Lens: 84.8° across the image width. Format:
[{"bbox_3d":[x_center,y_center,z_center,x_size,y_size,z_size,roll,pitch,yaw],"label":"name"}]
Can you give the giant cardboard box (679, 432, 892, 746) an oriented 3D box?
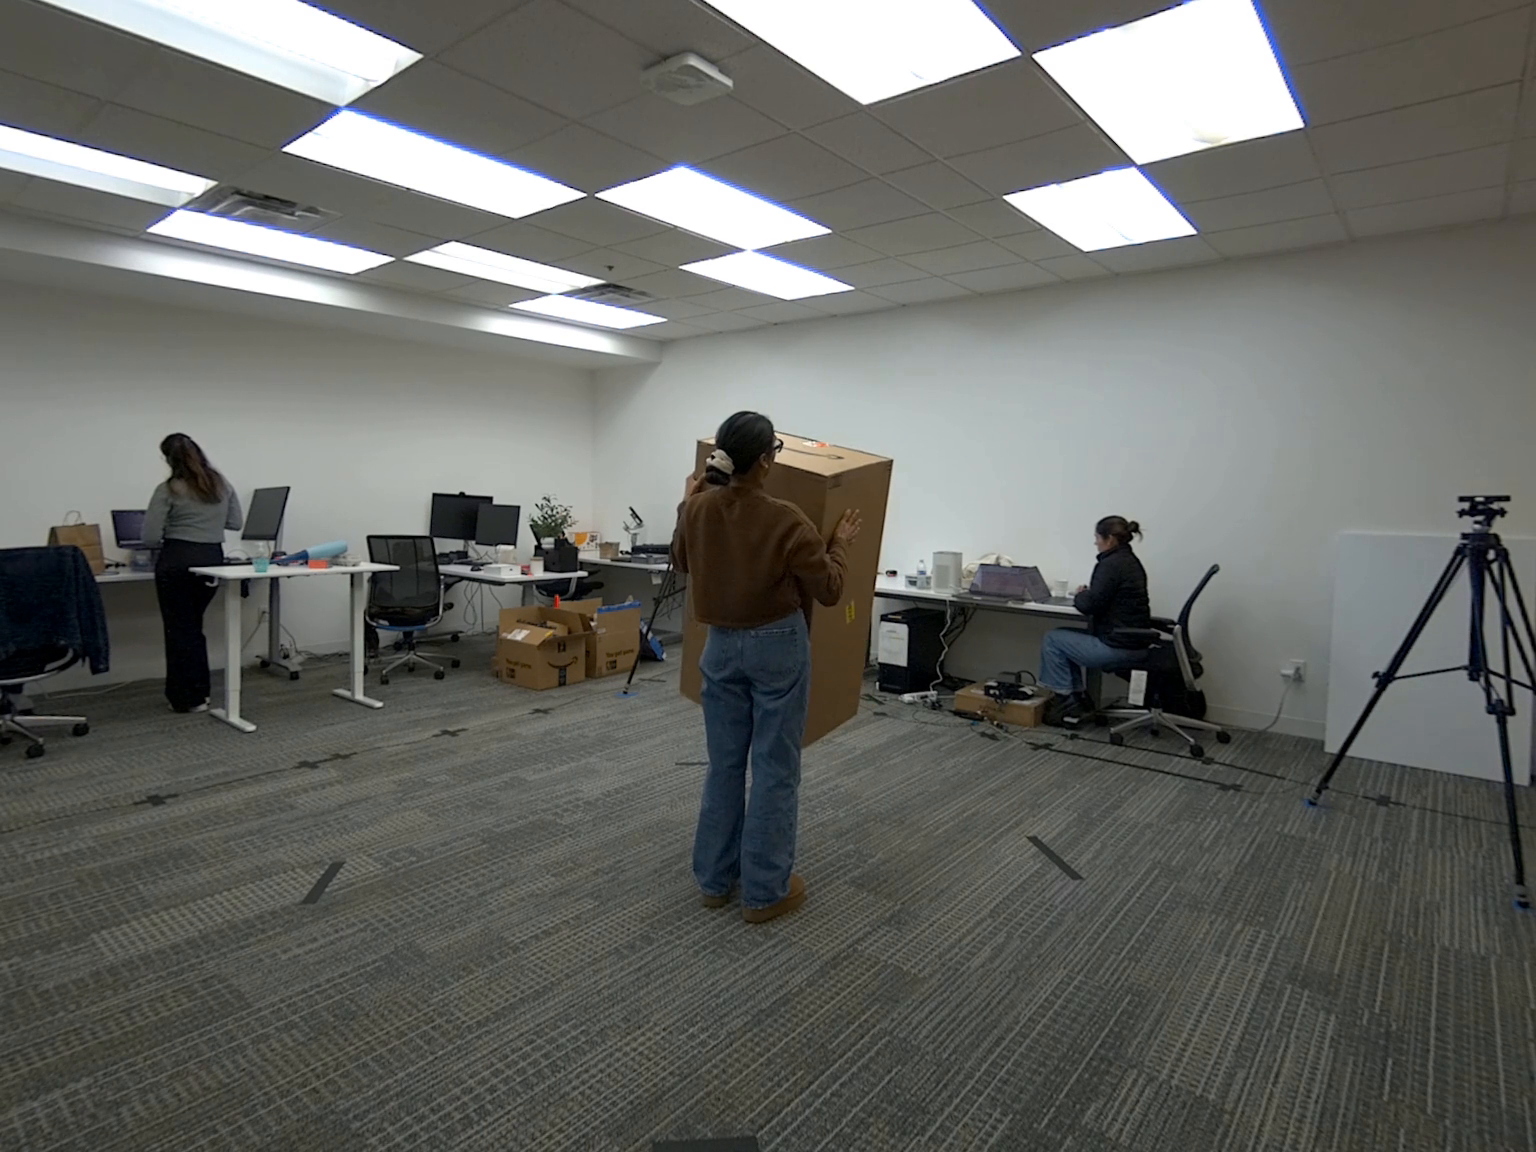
[{"bbox_3d":[0.043,0.019,3.192,0.600,1.010,0.416,20,23,36],"label":"giant cardboard box"}]
